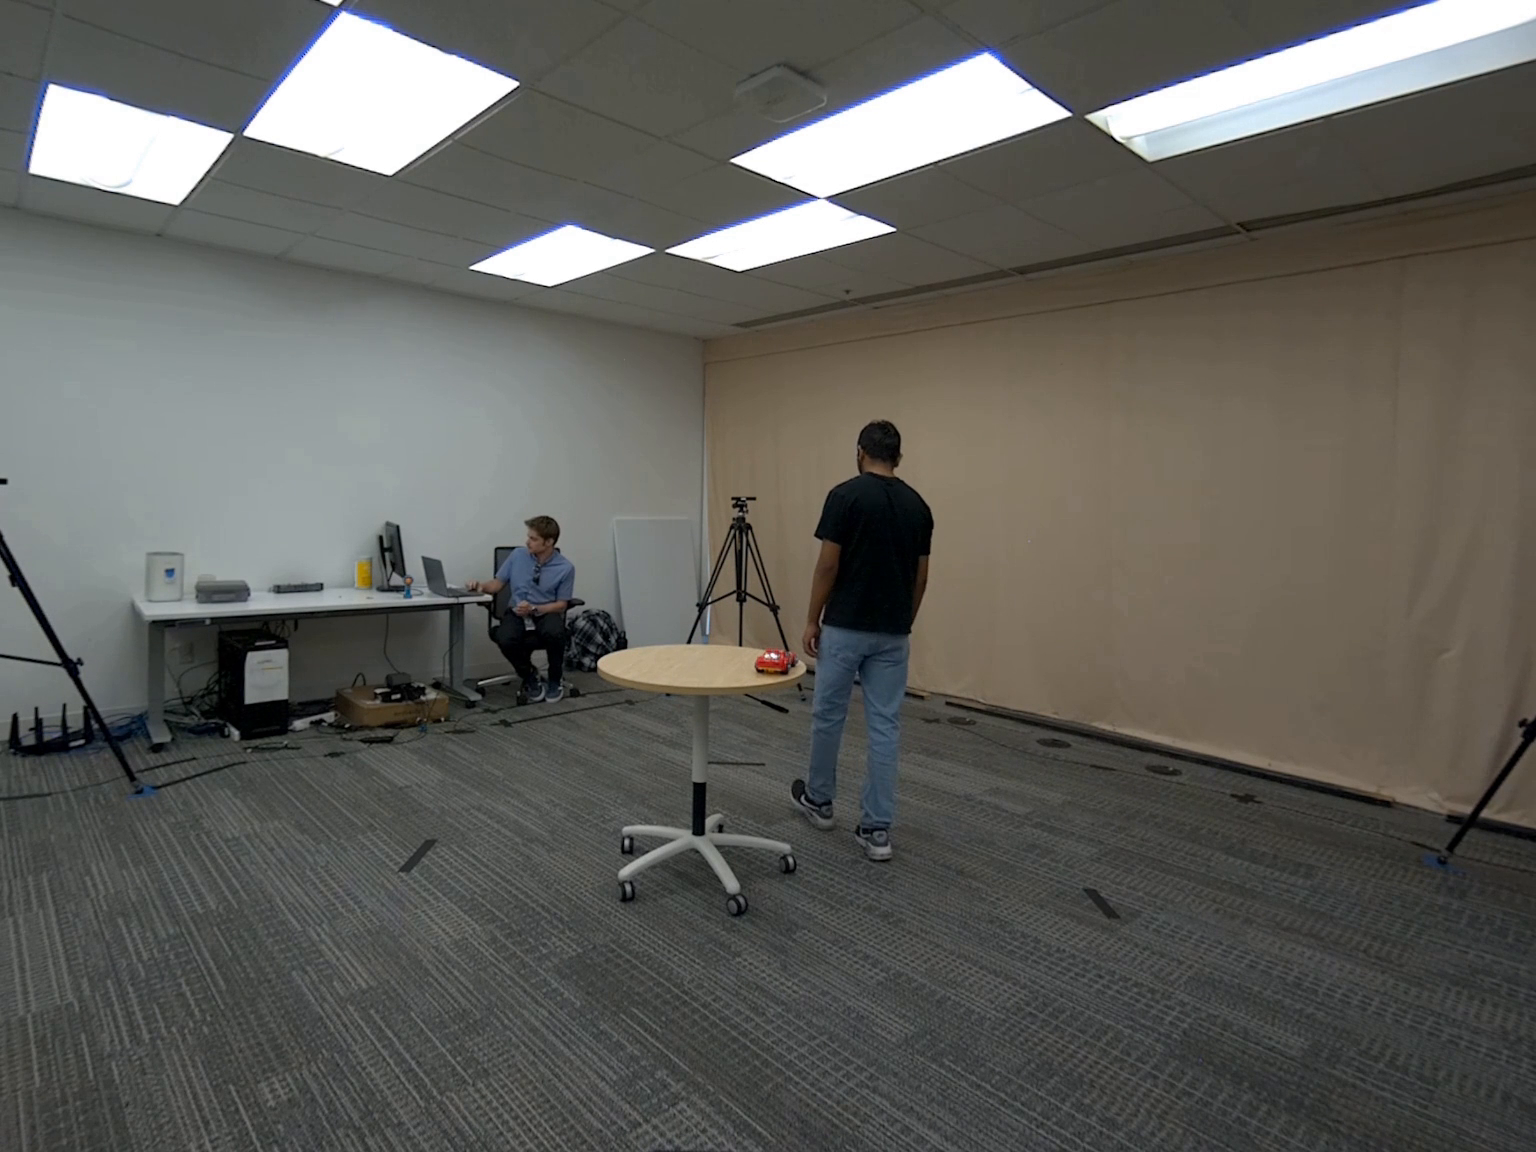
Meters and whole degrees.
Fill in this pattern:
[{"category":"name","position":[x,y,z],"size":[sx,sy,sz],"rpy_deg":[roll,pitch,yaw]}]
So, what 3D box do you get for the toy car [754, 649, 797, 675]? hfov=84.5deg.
[{"category":"toy car","position":[0.020,0.304,3.003],"size":[0.132,0.083,0.250],"rpy_deg":[3,-6,13]}]
